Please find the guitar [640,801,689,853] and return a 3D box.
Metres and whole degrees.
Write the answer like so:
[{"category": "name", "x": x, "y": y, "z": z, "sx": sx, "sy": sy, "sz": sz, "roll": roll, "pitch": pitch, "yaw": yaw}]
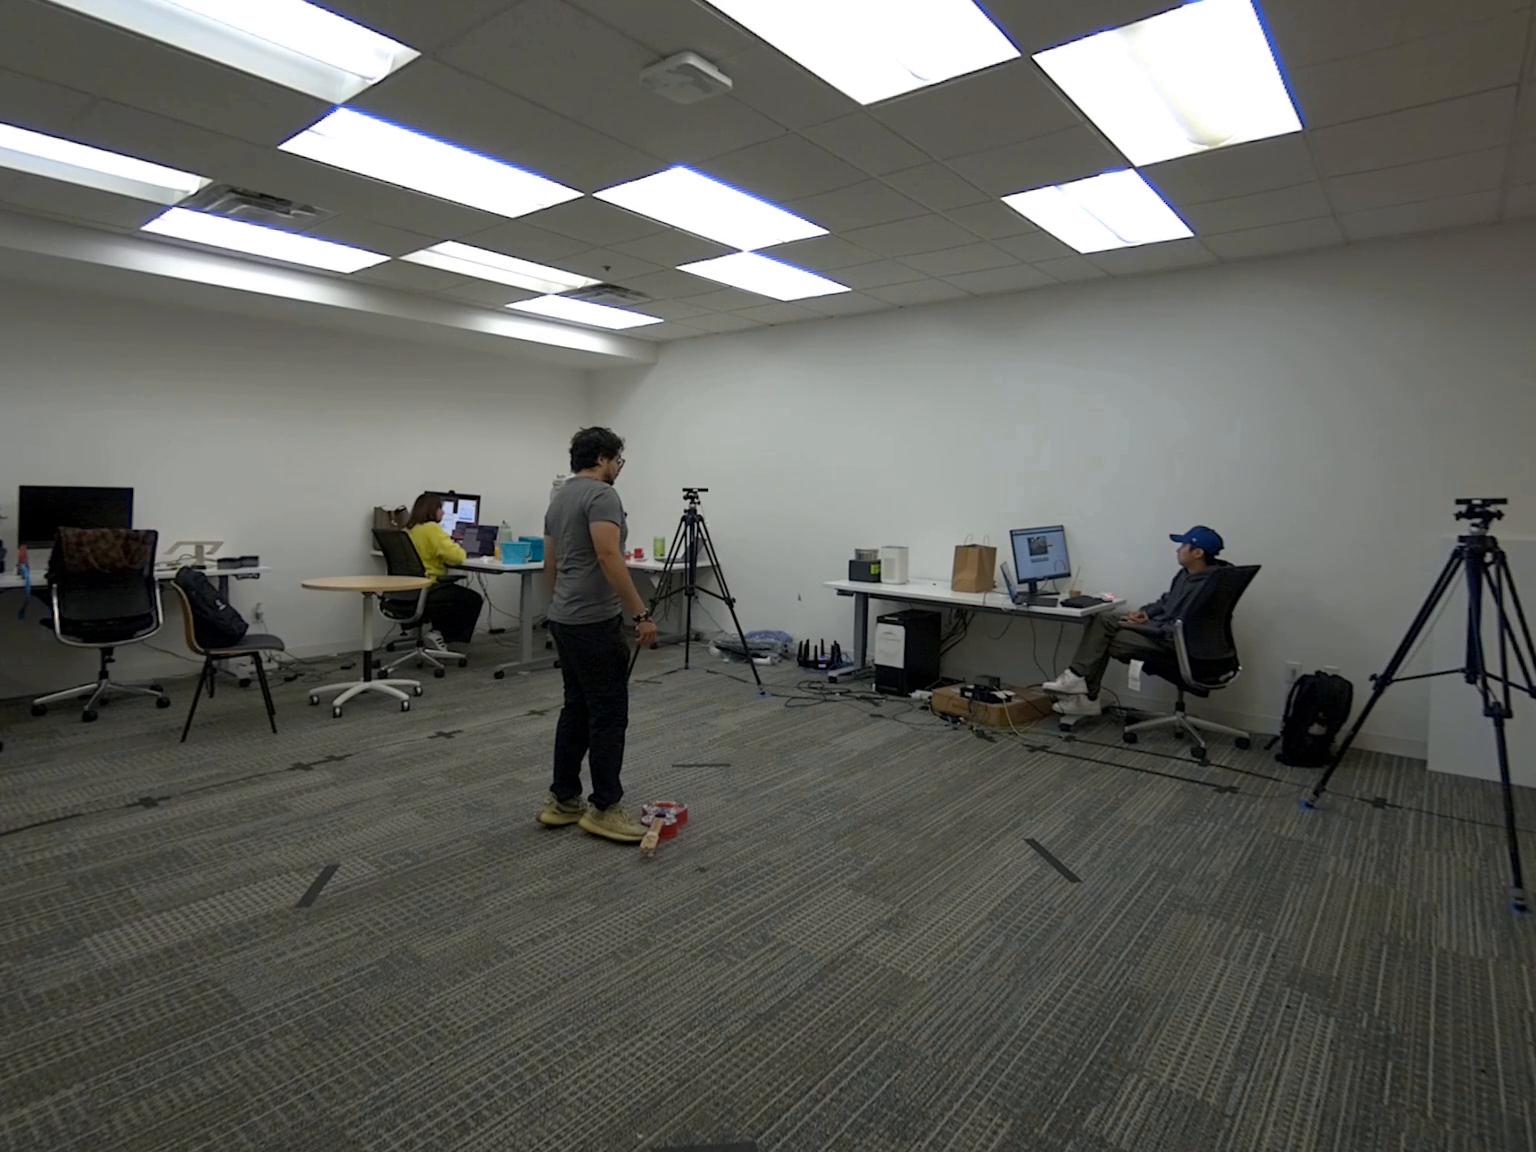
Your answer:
[{"category": "guitar", "x": -0.479, "y": 1.010, "z": 3.393, "sx": 0.196, "sy": 0.070, "sz": 0.492, "roll": 3, "pitch": 5, "yaw": 11}]
